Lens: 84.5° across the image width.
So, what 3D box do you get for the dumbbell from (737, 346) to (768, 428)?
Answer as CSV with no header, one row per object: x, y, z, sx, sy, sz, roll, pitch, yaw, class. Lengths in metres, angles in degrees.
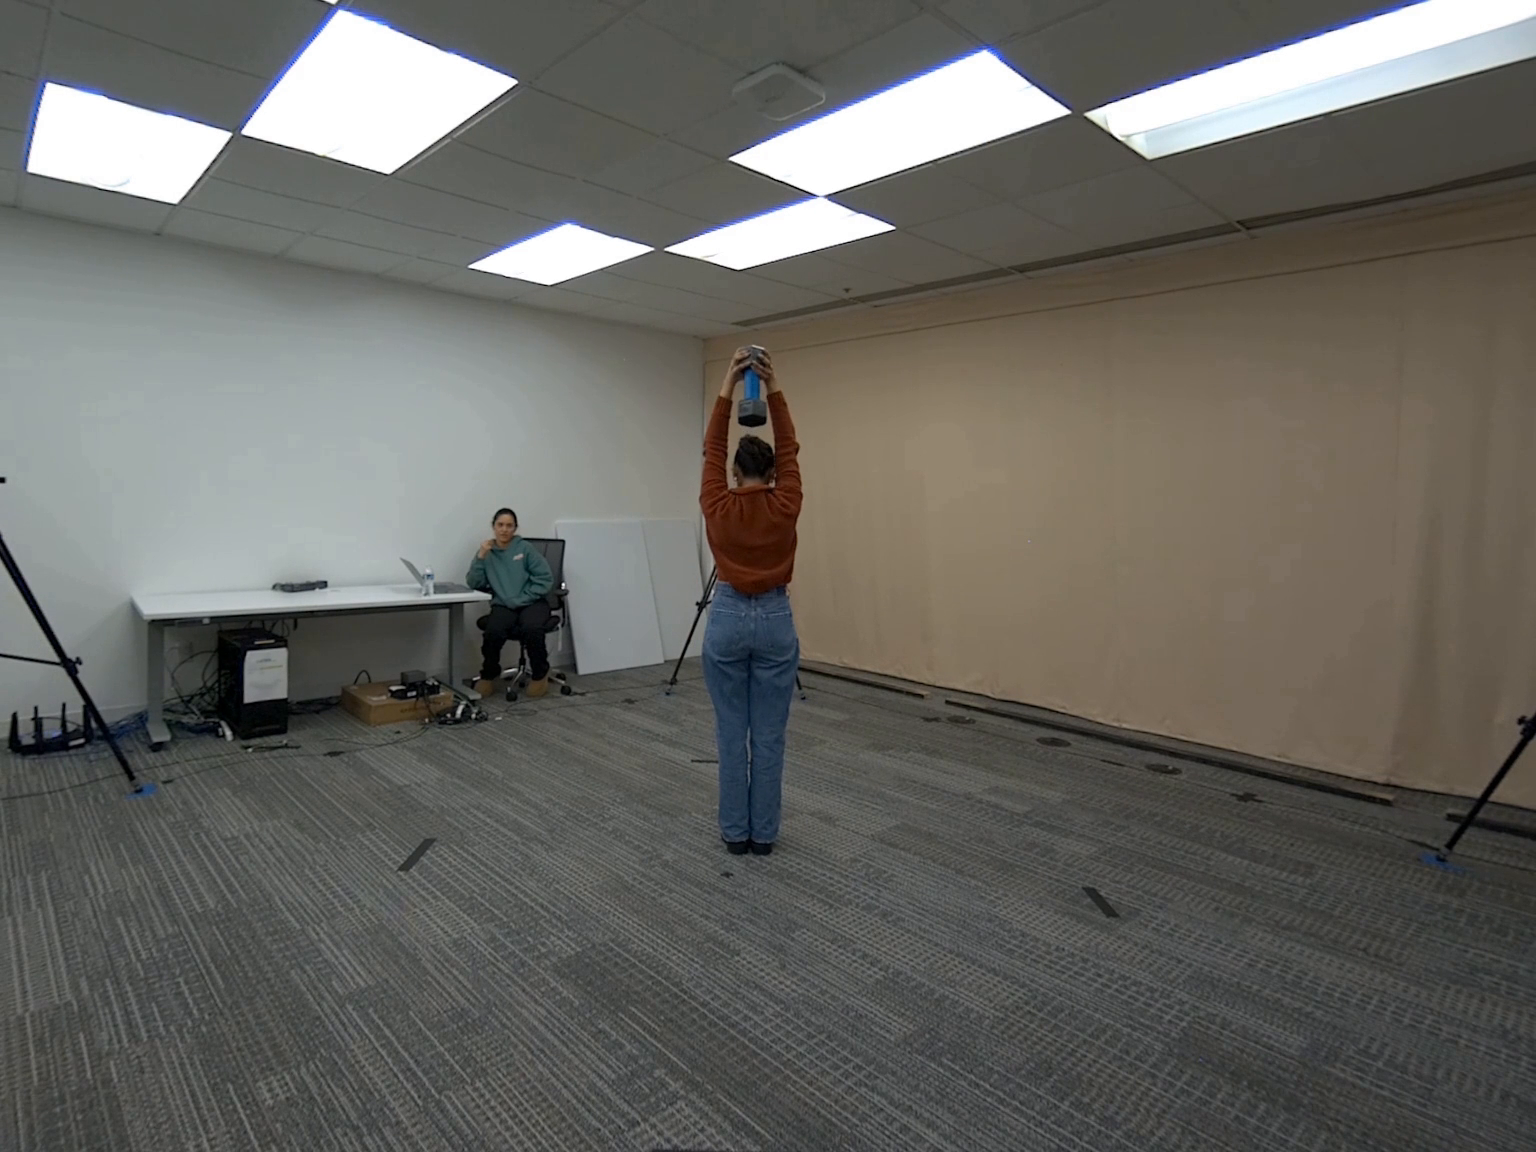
-0.064,-0.712,3.172,0.108,0.297,0.122,1,-15,-6,dumbbell
